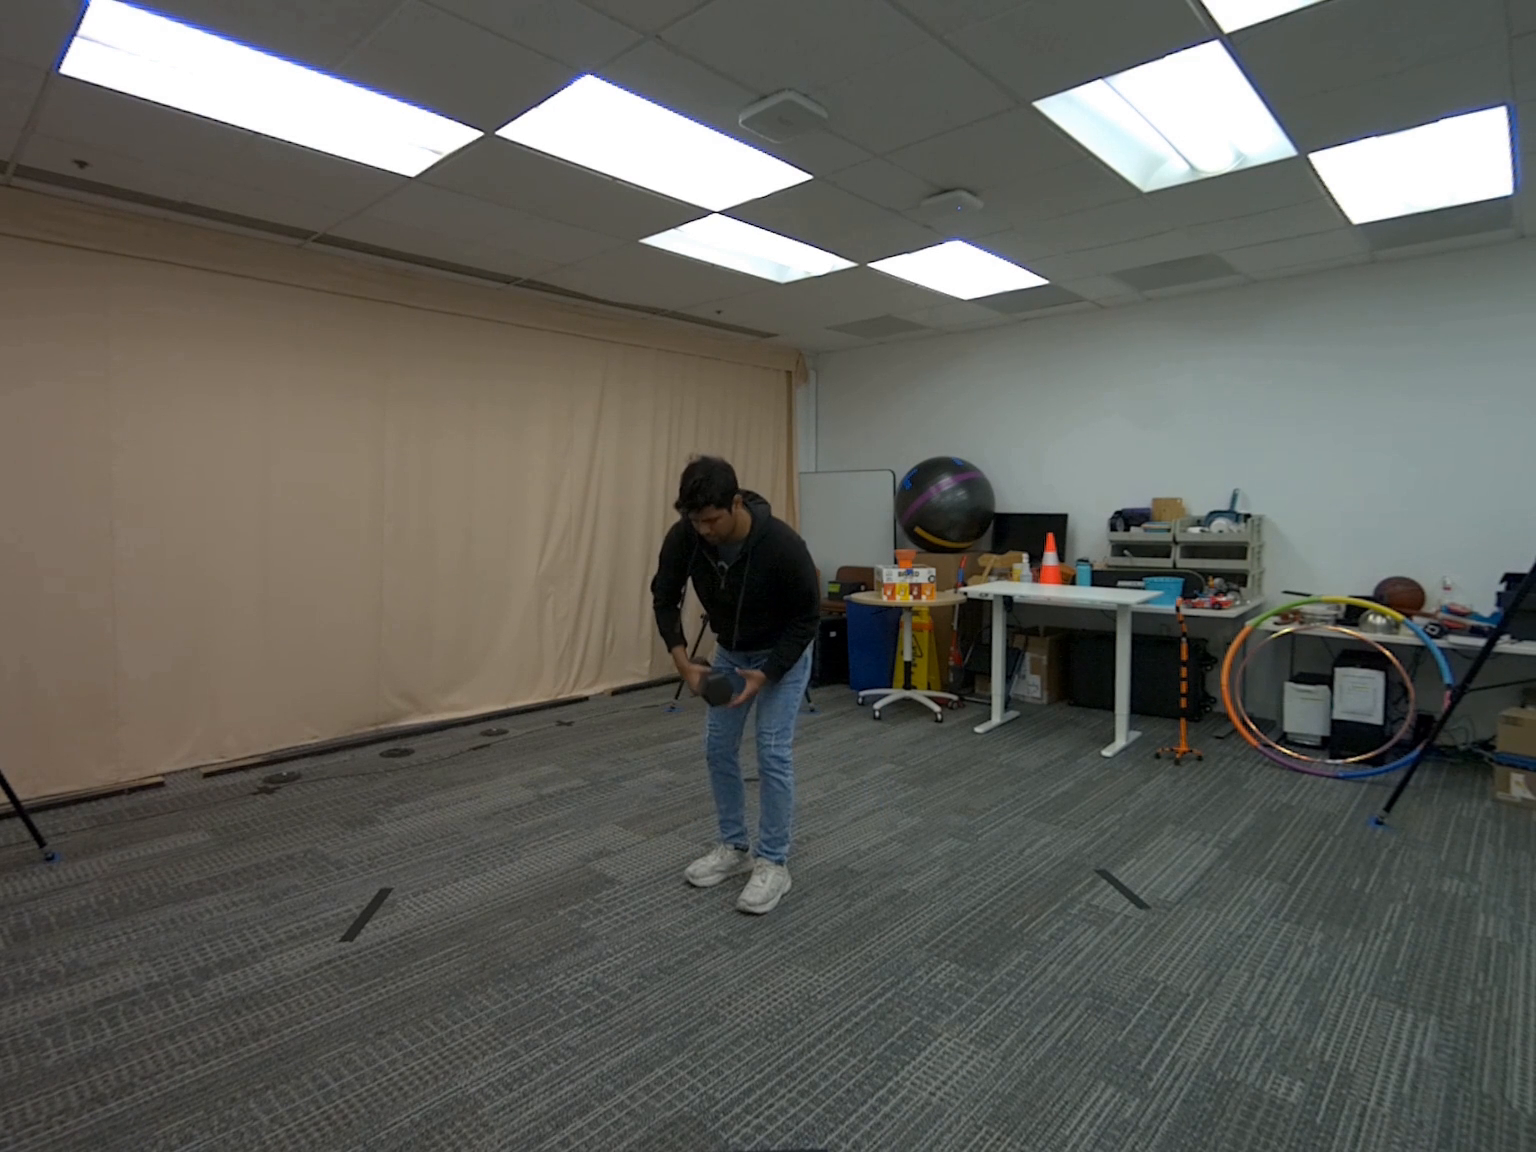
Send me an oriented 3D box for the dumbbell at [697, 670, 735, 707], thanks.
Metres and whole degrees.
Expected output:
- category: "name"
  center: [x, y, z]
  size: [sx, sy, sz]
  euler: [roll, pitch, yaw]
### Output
- category: "dumbbell"
  center: [-0.210, 0.369, 2.902]
  size: [0.108, 0.121, 0.300]
  euler: [-44, 17, -11]
